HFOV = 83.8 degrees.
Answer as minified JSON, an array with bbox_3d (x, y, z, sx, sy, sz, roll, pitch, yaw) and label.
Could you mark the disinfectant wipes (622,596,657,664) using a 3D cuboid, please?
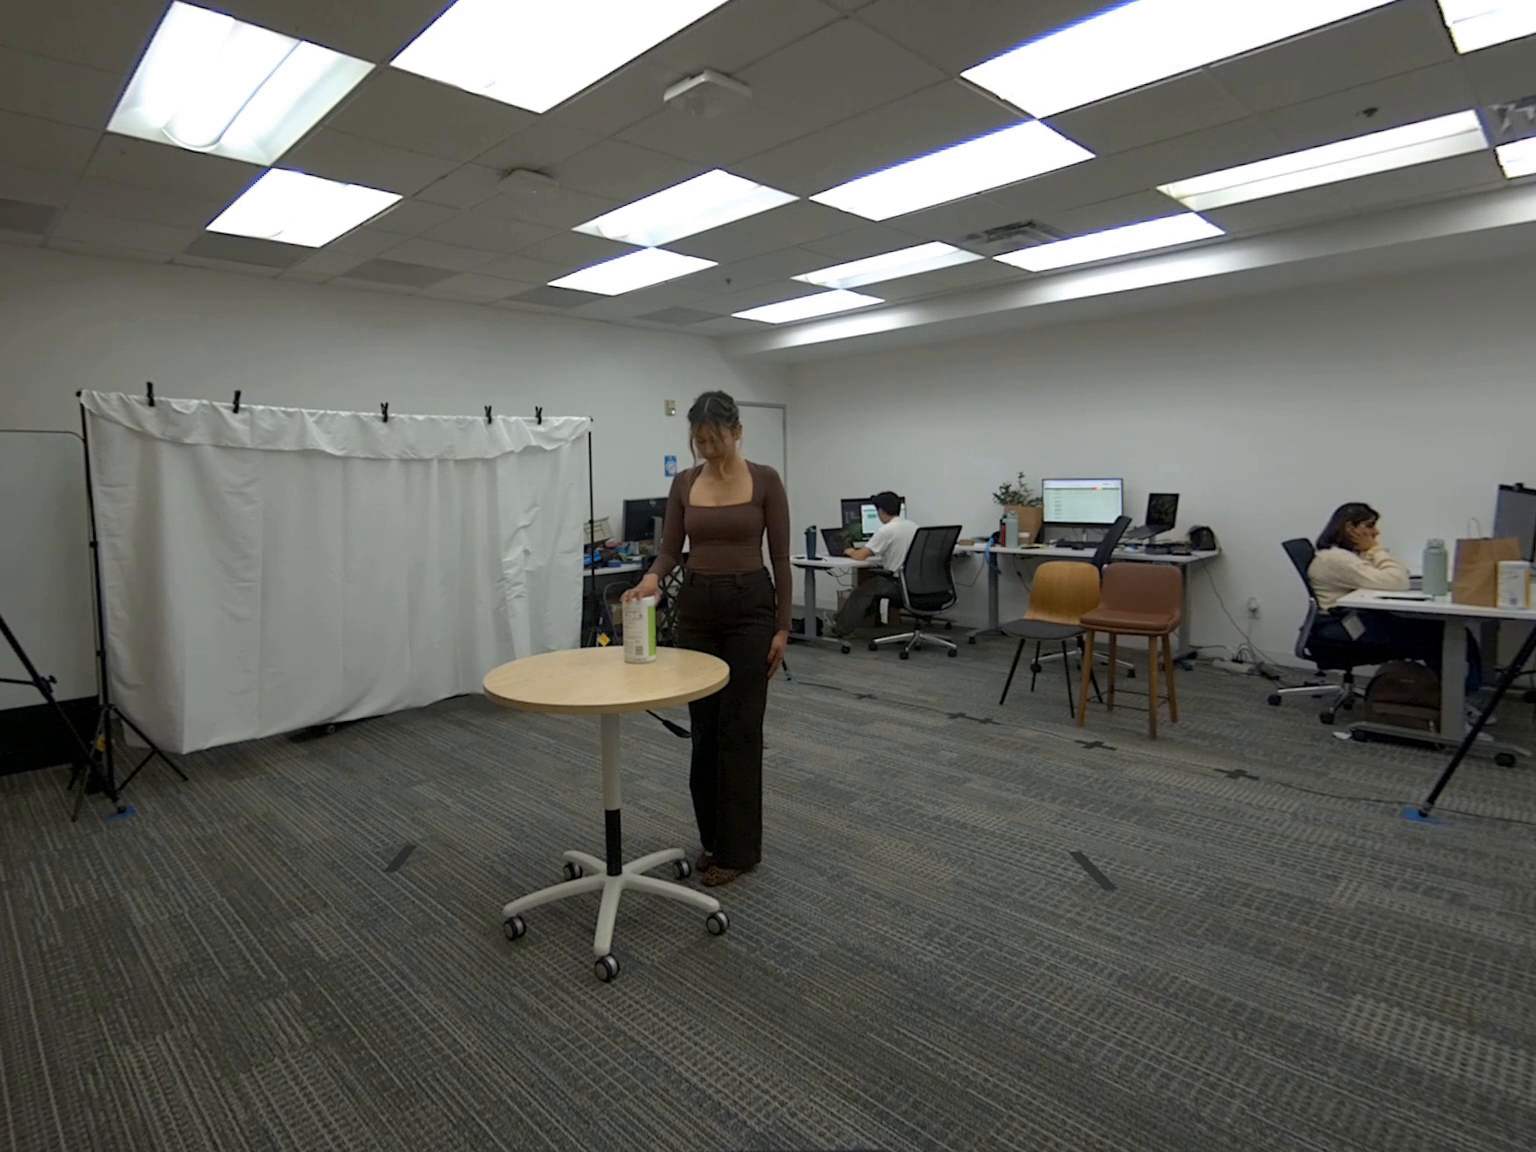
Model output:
[{"bbox_3d":[-0.424,0.174,2.838,0.118,0.217,0.118,1,3,-2],"label":"disinfectant wipes"}]
